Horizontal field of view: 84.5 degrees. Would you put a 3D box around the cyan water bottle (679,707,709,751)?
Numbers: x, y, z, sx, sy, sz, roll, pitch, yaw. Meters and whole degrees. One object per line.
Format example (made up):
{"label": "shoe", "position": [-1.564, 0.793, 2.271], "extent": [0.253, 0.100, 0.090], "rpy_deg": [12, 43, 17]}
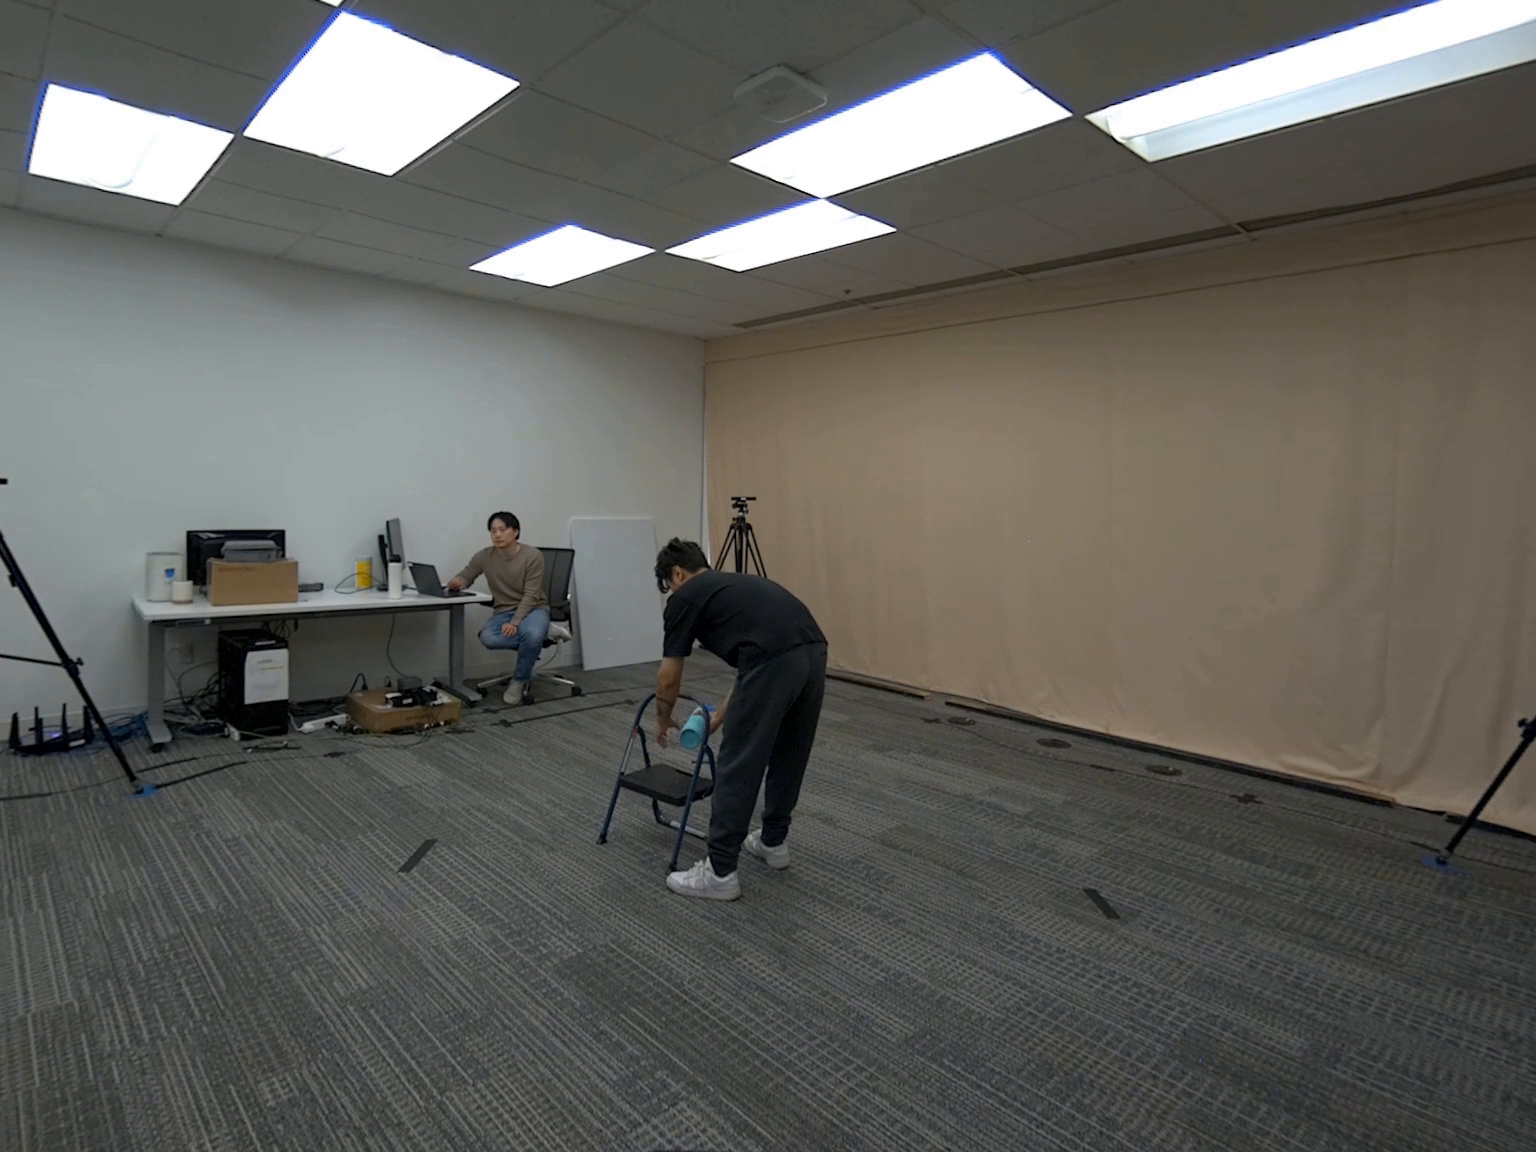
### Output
{"label": "cyan water bottle", "position": [-0.292, 0.607, 3.473], "extent": [0.093, 0.091, 0.284], "rpy_deg": [2, 14, 8]}
